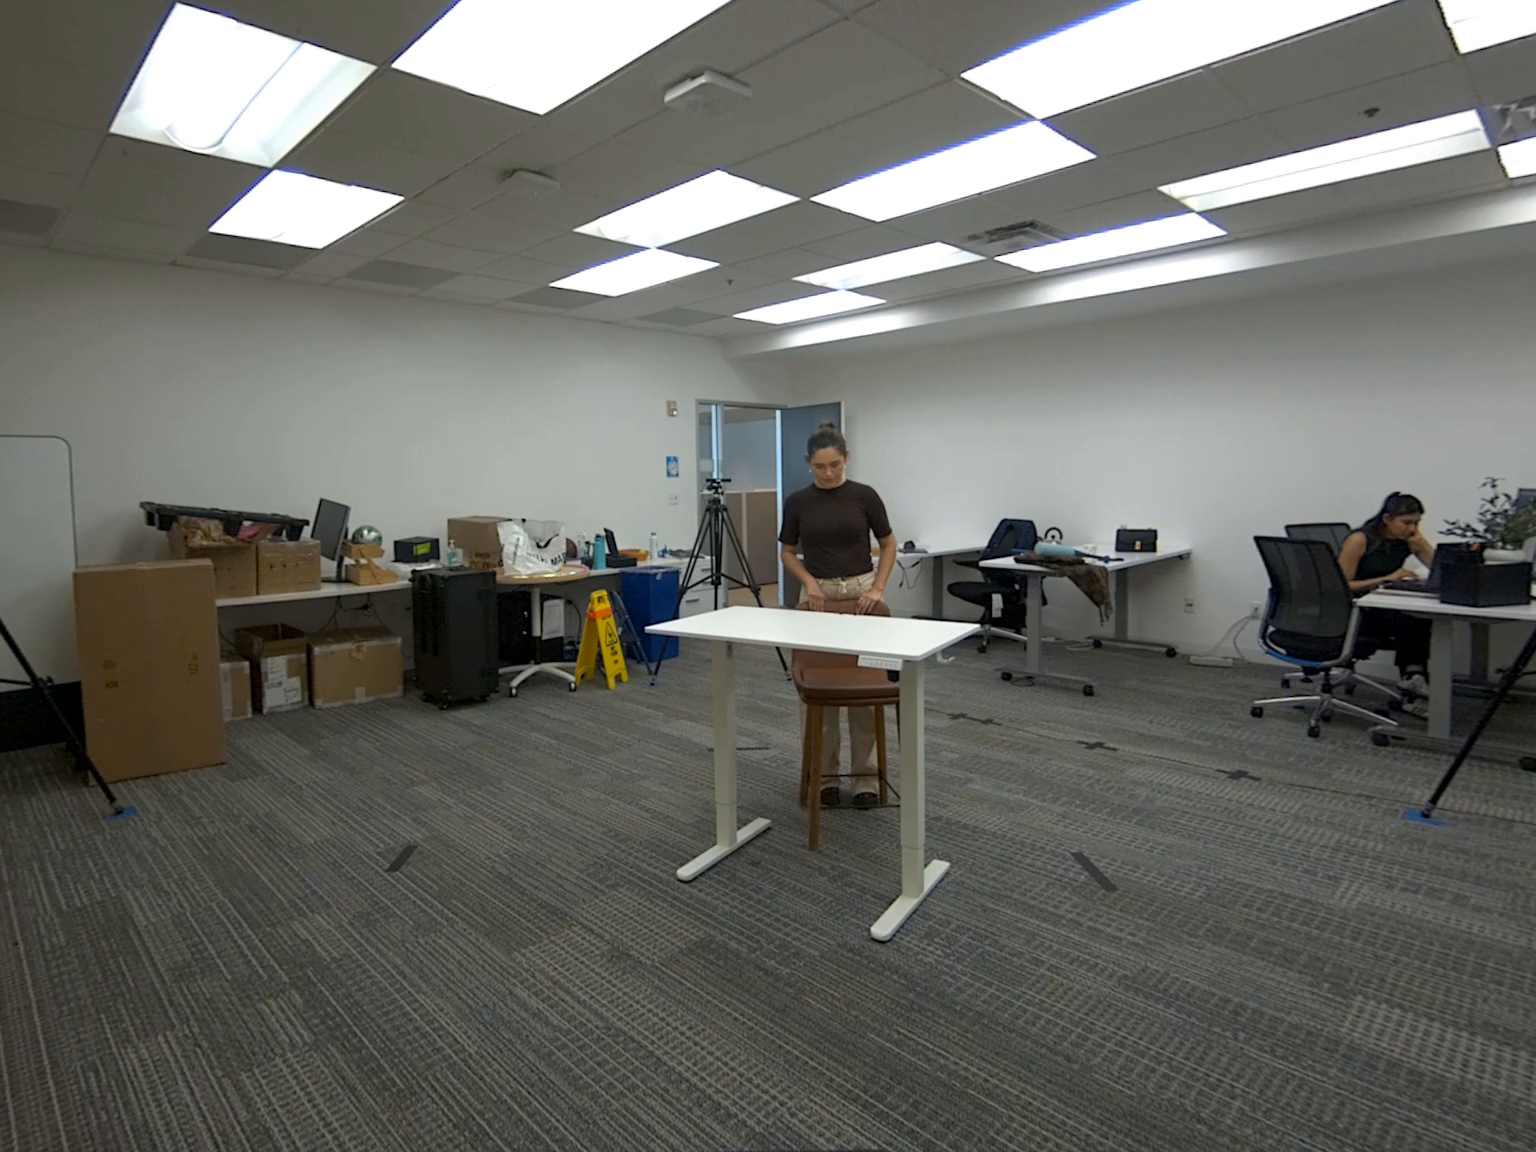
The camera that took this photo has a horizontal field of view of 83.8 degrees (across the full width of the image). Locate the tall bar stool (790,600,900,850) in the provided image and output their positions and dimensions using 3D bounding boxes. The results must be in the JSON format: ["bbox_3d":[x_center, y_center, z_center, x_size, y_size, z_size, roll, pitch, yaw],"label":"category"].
[{"bbox_3d":[0.334,0.567,3.424,0.456,0.889,0.469,-1,1,-2],"label":"tall bar stool"}]
